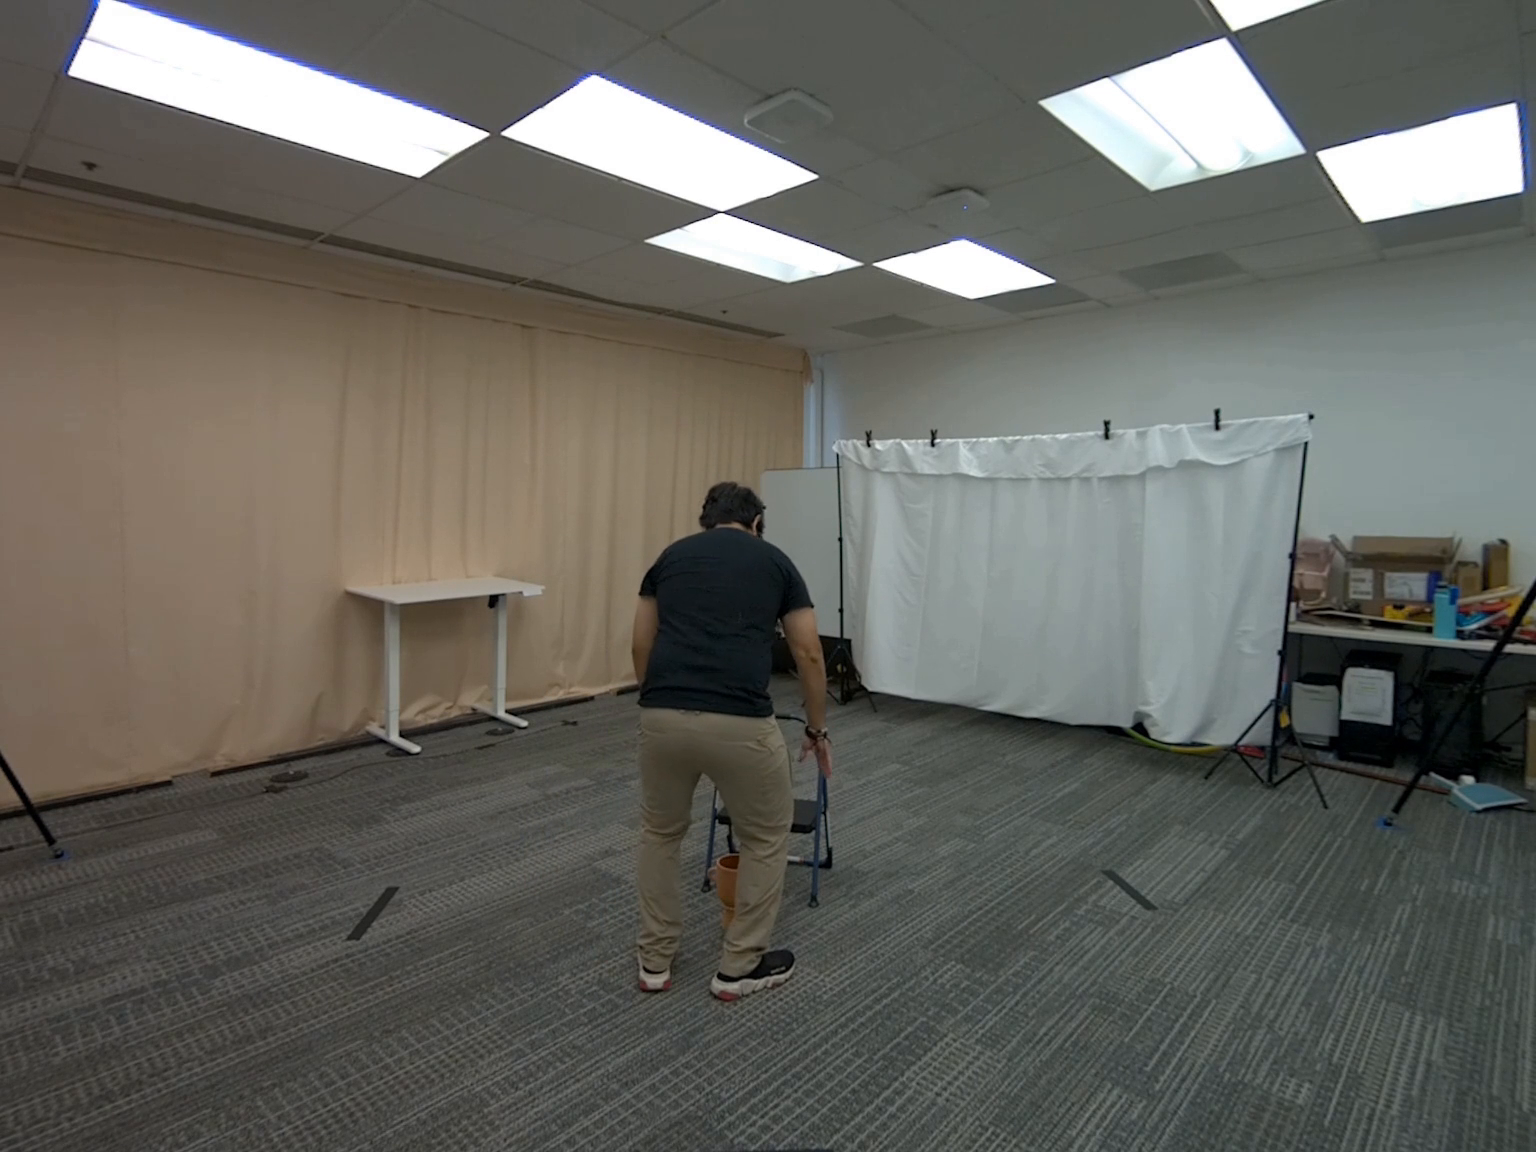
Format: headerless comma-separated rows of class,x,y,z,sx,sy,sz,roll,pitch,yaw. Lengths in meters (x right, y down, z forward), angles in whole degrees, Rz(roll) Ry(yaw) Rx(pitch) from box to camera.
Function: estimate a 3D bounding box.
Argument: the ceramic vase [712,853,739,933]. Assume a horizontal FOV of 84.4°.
ceramic vase,-0.104,1.044,2.776,0.130,0.219,0.164,-3,4,-41
